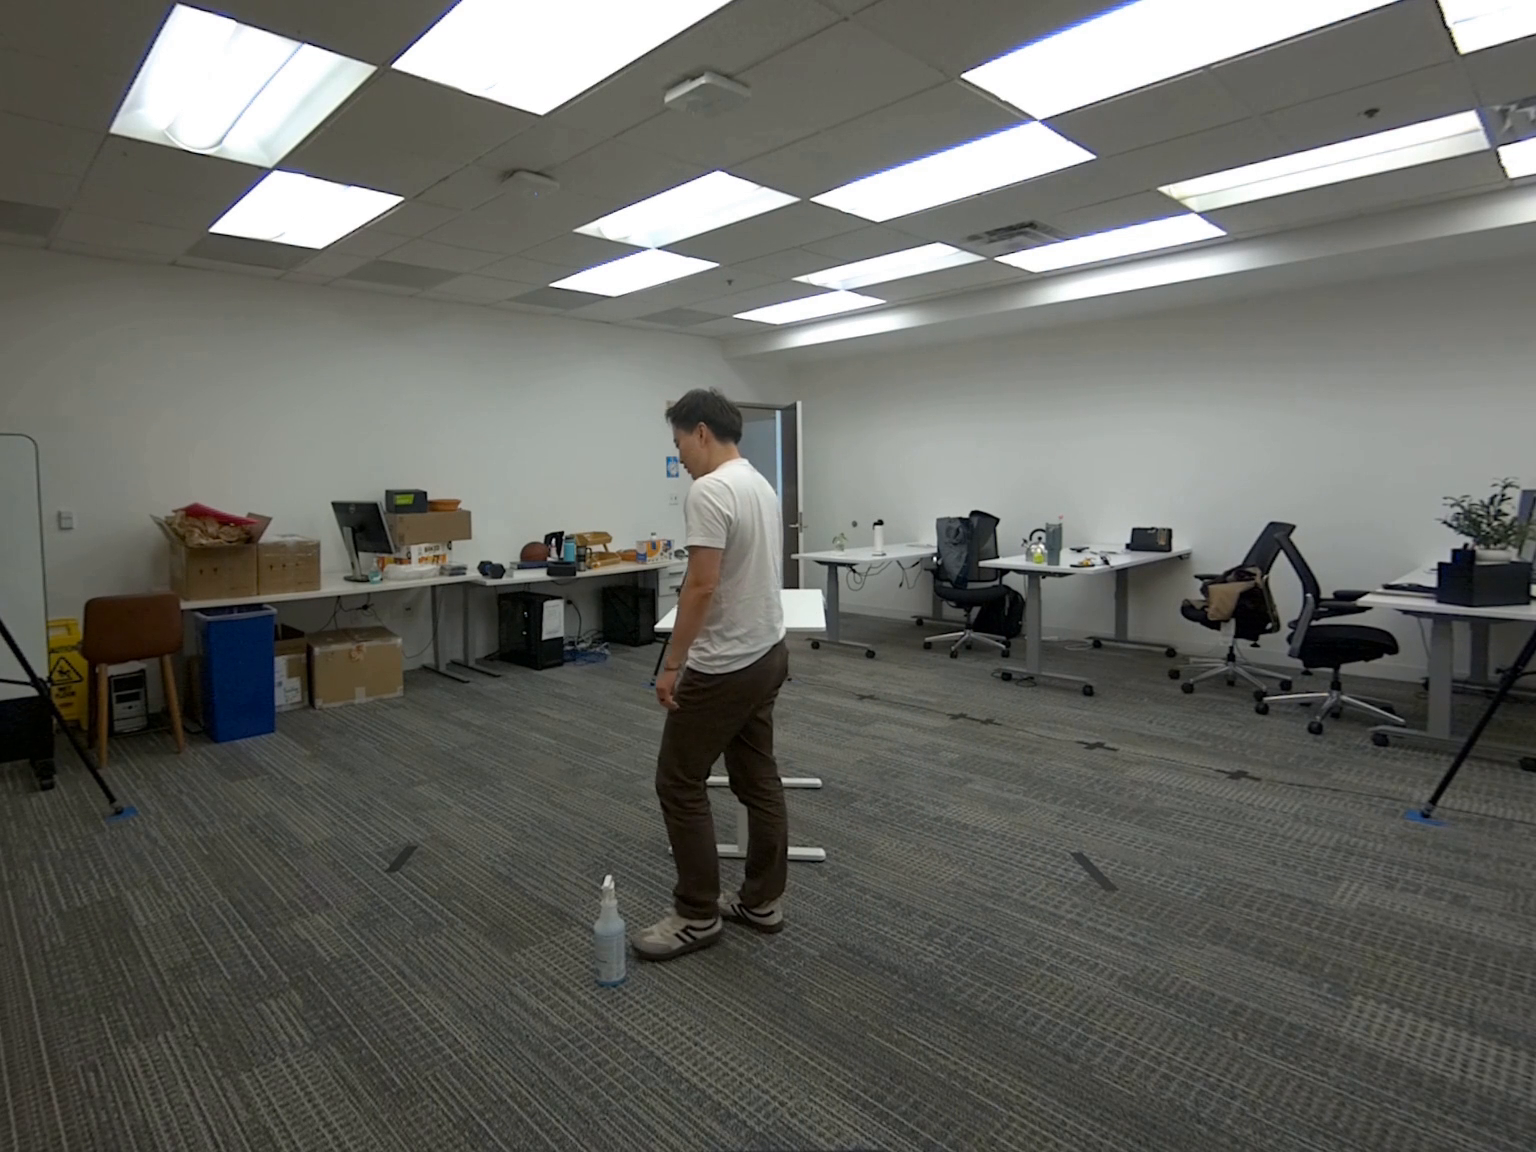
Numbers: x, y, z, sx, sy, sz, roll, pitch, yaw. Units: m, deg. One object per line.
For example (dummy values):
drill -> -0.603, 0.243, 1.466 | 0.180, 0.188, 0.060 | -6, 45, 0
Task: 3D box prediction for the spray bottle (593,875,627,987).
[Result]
spray bottle -> -0.446, 0.998, 2.397 | 0.089, 0.296, 0.088 | 0, 5, 21
